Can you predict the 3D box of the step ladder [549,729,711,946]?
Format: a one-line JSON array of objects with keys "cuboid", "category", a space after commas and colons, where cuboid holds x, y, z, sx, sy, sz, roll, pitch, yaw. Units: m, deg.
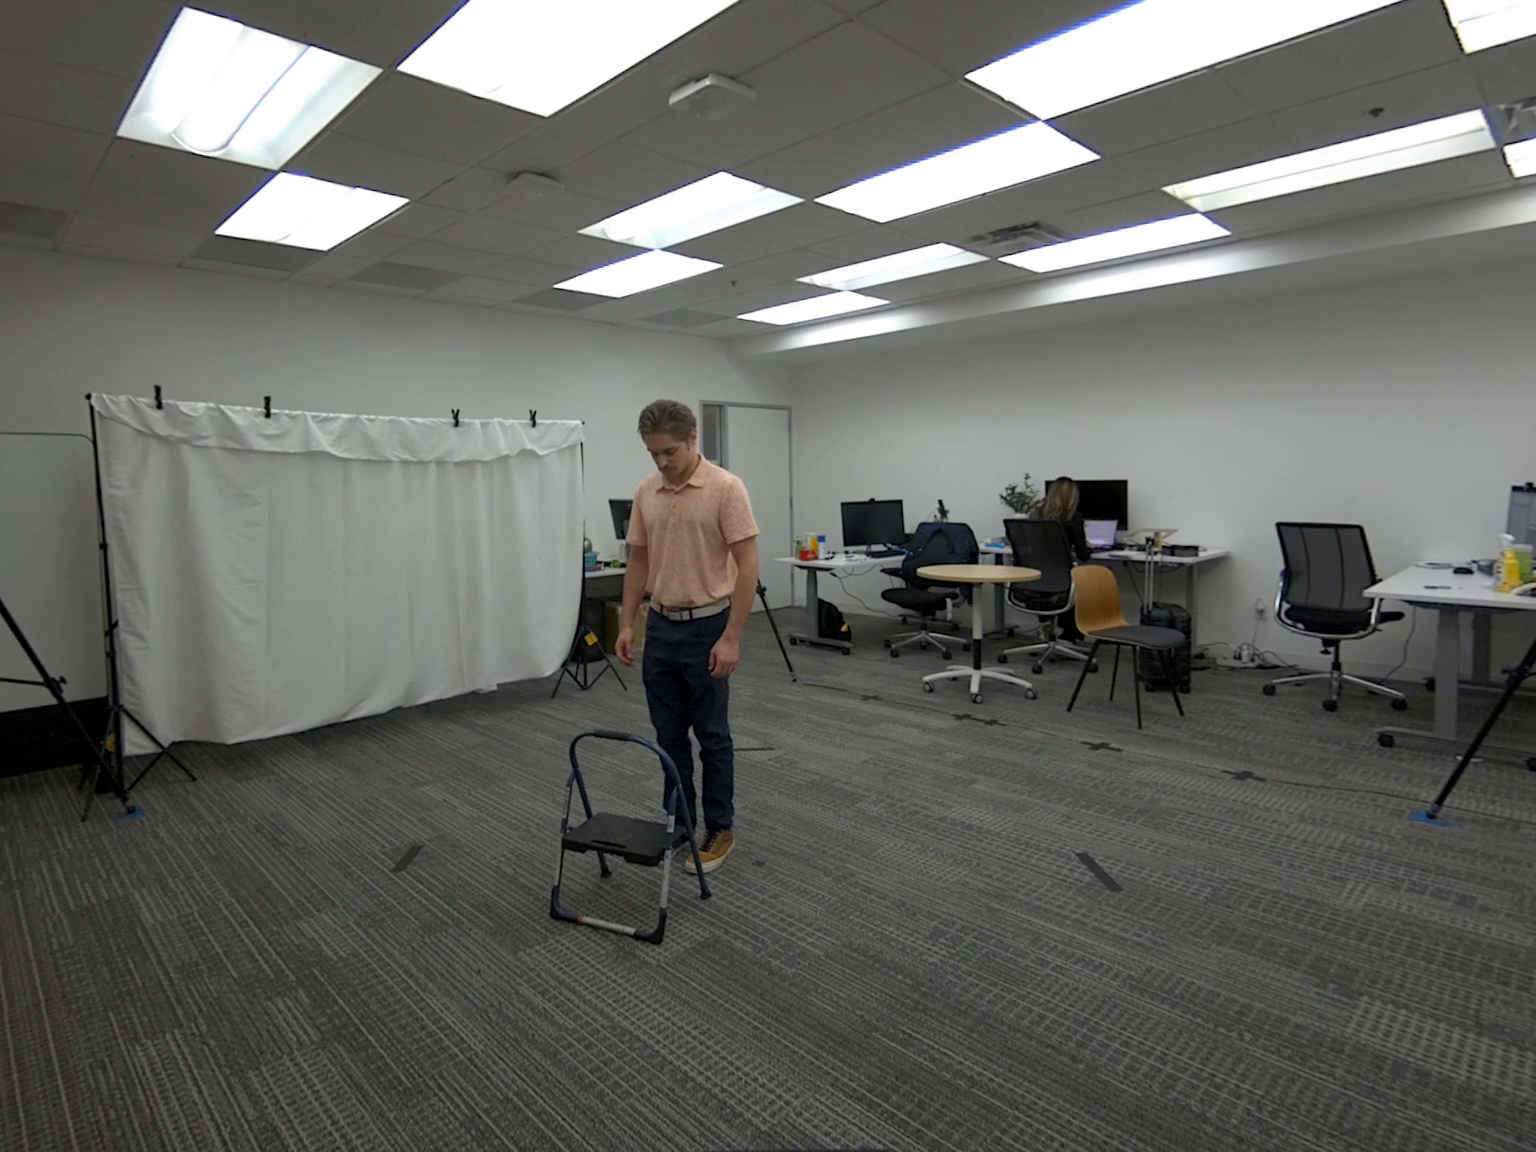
[{"cuboid": [-0.457, 0.789, 2.794, 0.440, 0.604, 0.343, 1, 5, 24], "category": "step ladder"}]
